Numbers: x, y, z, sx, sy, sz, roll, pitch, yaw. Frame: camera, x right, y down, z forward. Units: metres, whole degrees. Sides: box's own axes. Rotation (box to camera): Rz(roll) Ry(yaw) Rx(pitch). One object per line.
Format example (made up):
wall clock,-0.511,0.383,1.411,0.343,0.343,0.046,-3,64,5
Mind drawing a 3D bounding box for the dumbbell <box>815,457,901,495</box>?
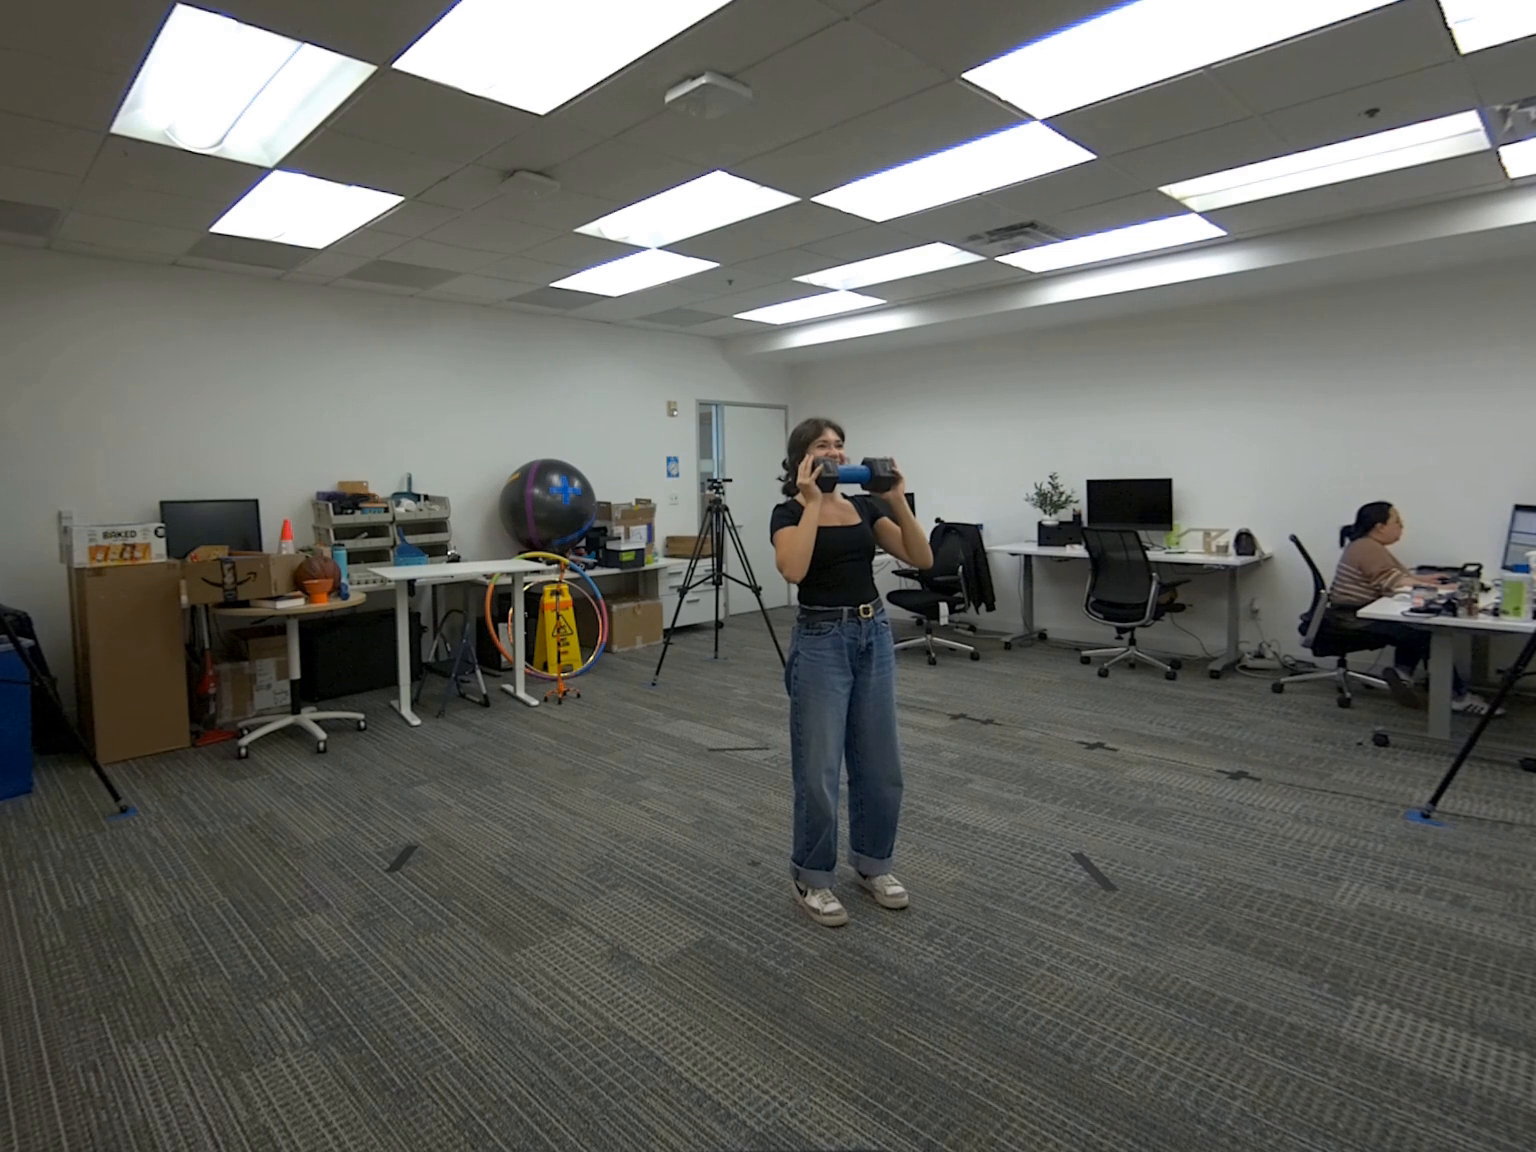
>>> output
dumbbell,0.257,-0.323,2.679,0.287,0.121,0.113,-1,39,-25
